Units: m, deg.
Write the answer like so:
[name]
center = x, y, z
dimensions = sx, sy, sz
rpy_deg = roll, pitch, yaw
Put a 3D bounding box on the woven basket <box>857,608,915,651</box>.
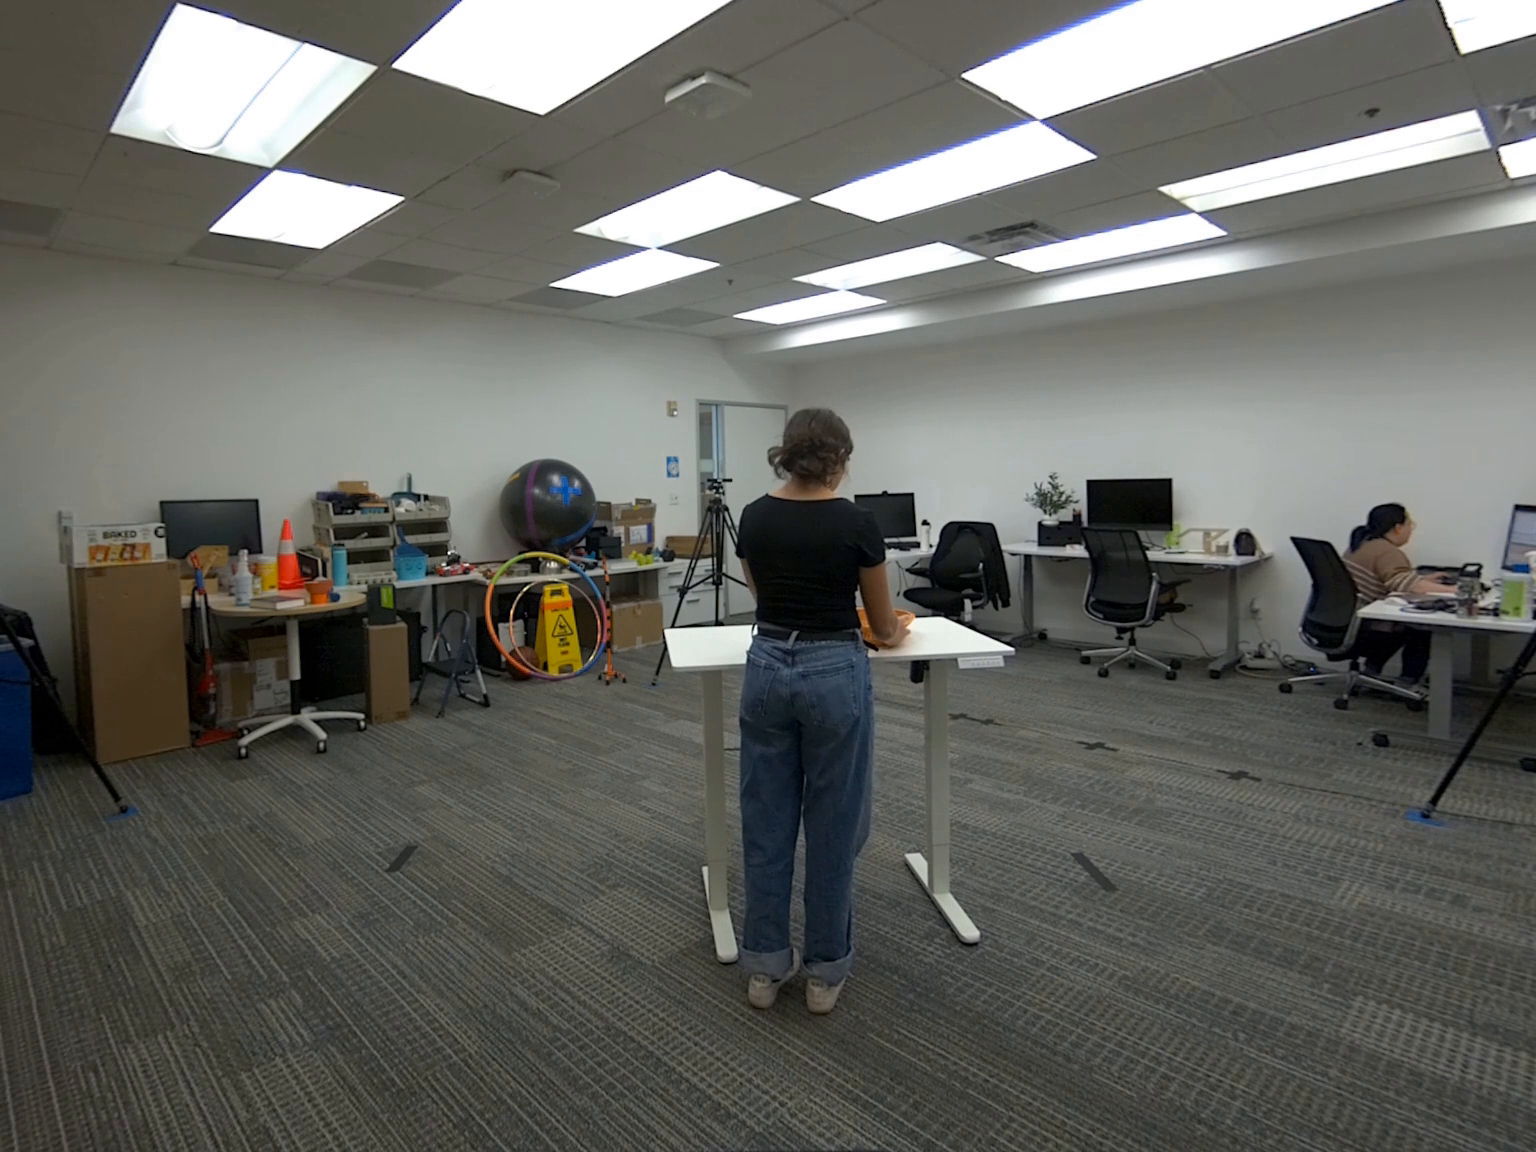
[woven basket]
center = 0.352, 0.170, 2.701
dimensions = 0.258, 0.073, 0.345
rpy_deg = 2, 7, 22
